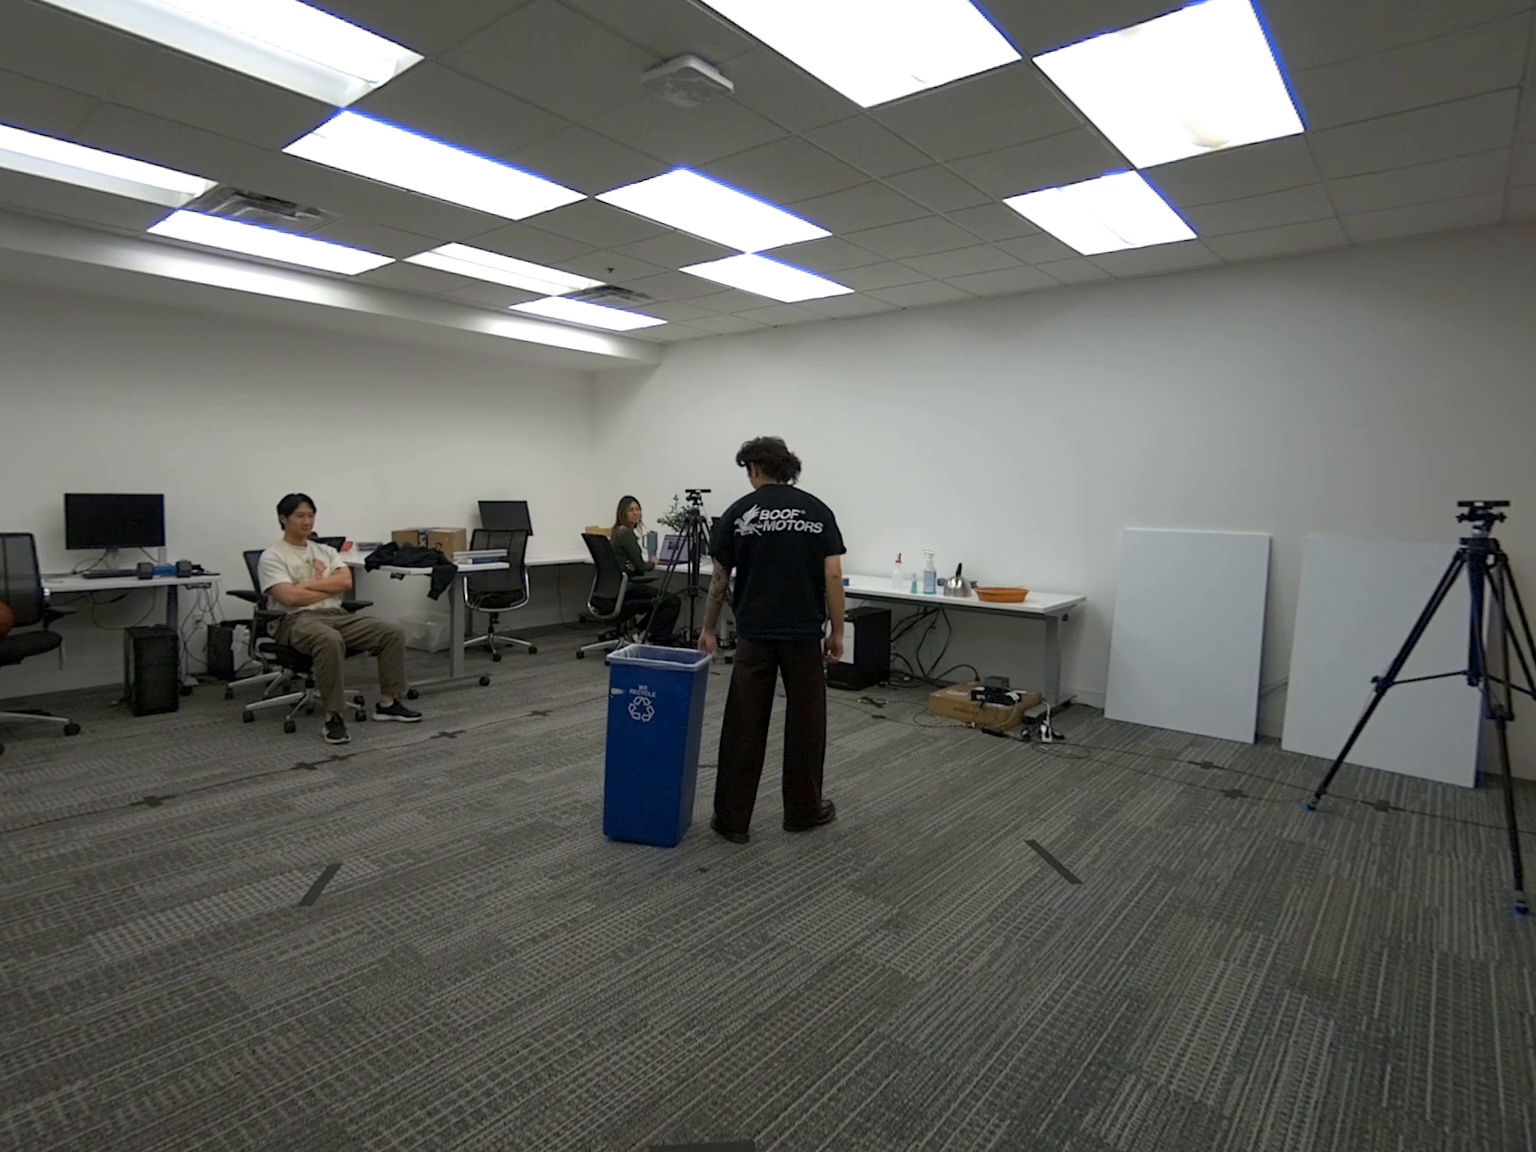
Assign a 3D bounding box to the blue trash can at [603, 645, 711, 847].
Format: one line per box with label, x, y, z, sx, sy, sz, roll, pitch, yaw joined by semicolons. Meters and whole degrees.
blue trash can;-0.462;0.668;3.467;0.378;0.713;0.374;4;1;9
